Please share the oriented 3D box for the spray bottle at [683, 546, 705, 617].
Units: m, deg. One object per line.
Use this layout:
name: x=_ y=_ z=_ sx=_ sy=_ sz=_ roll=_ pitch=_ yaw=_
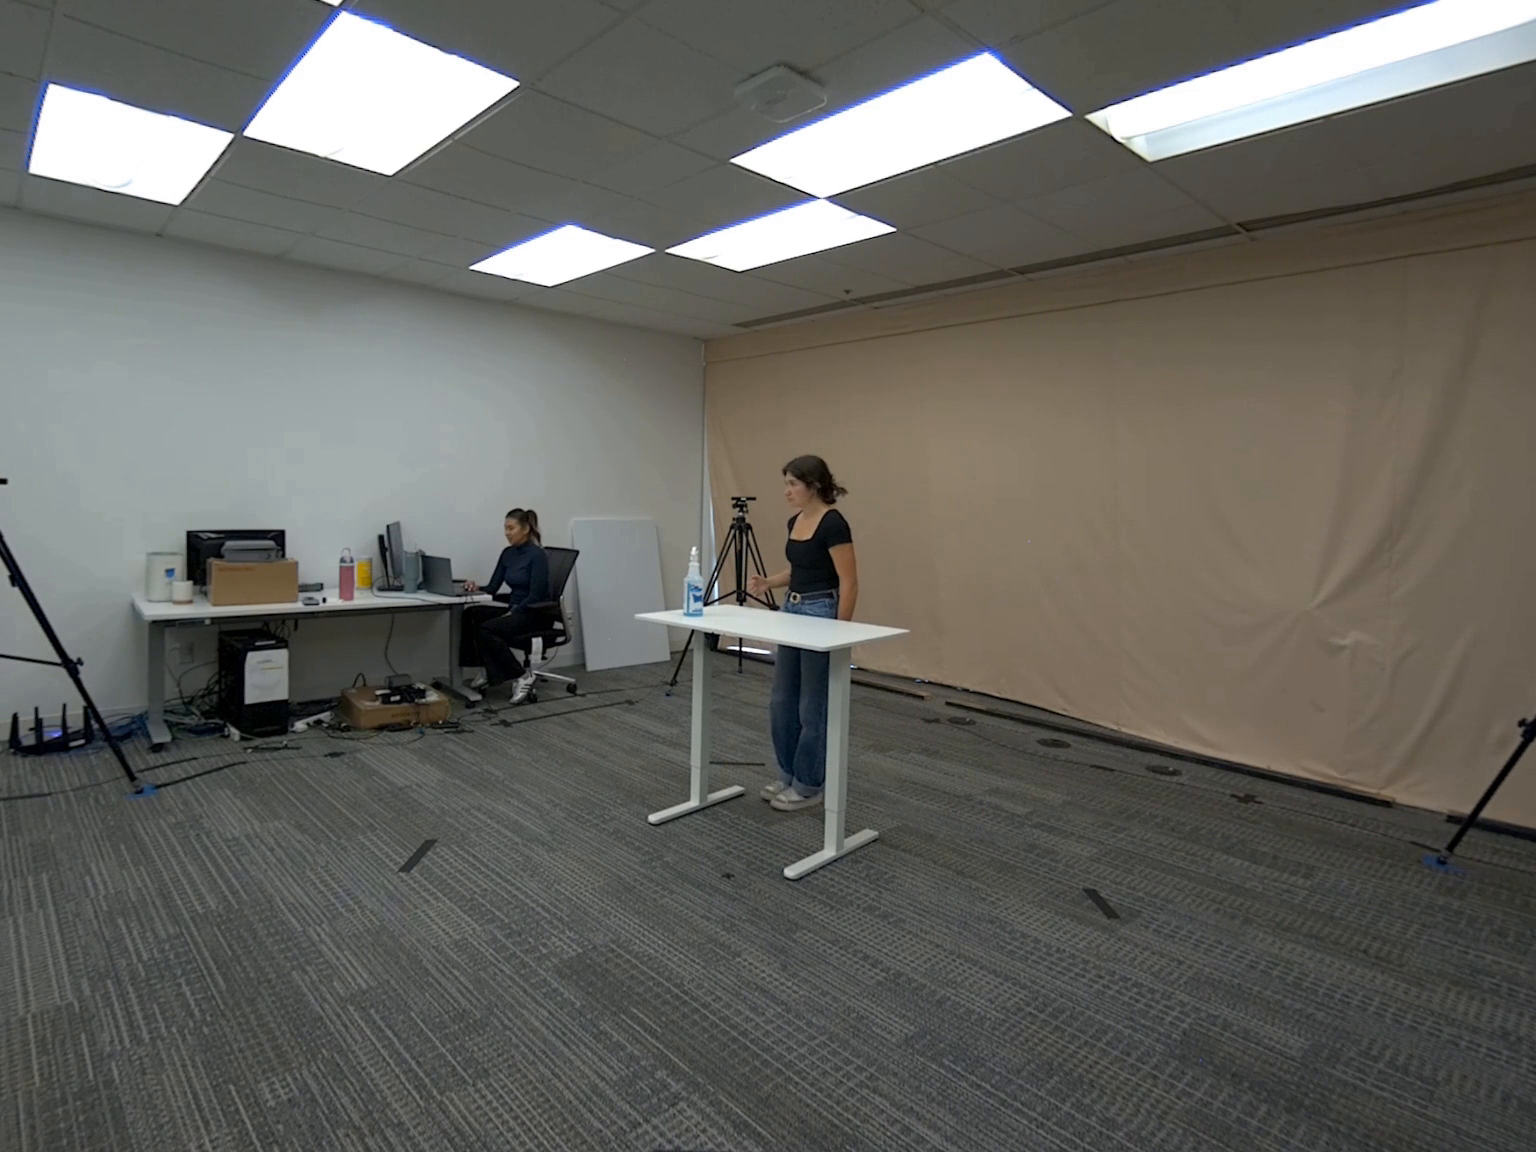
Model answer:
spray bottle: x=-0.338 y=0.028 z=3.646 sx=0.088 sy=0.297 sz=0.088 roll=0 pitch=1 yaw=23
